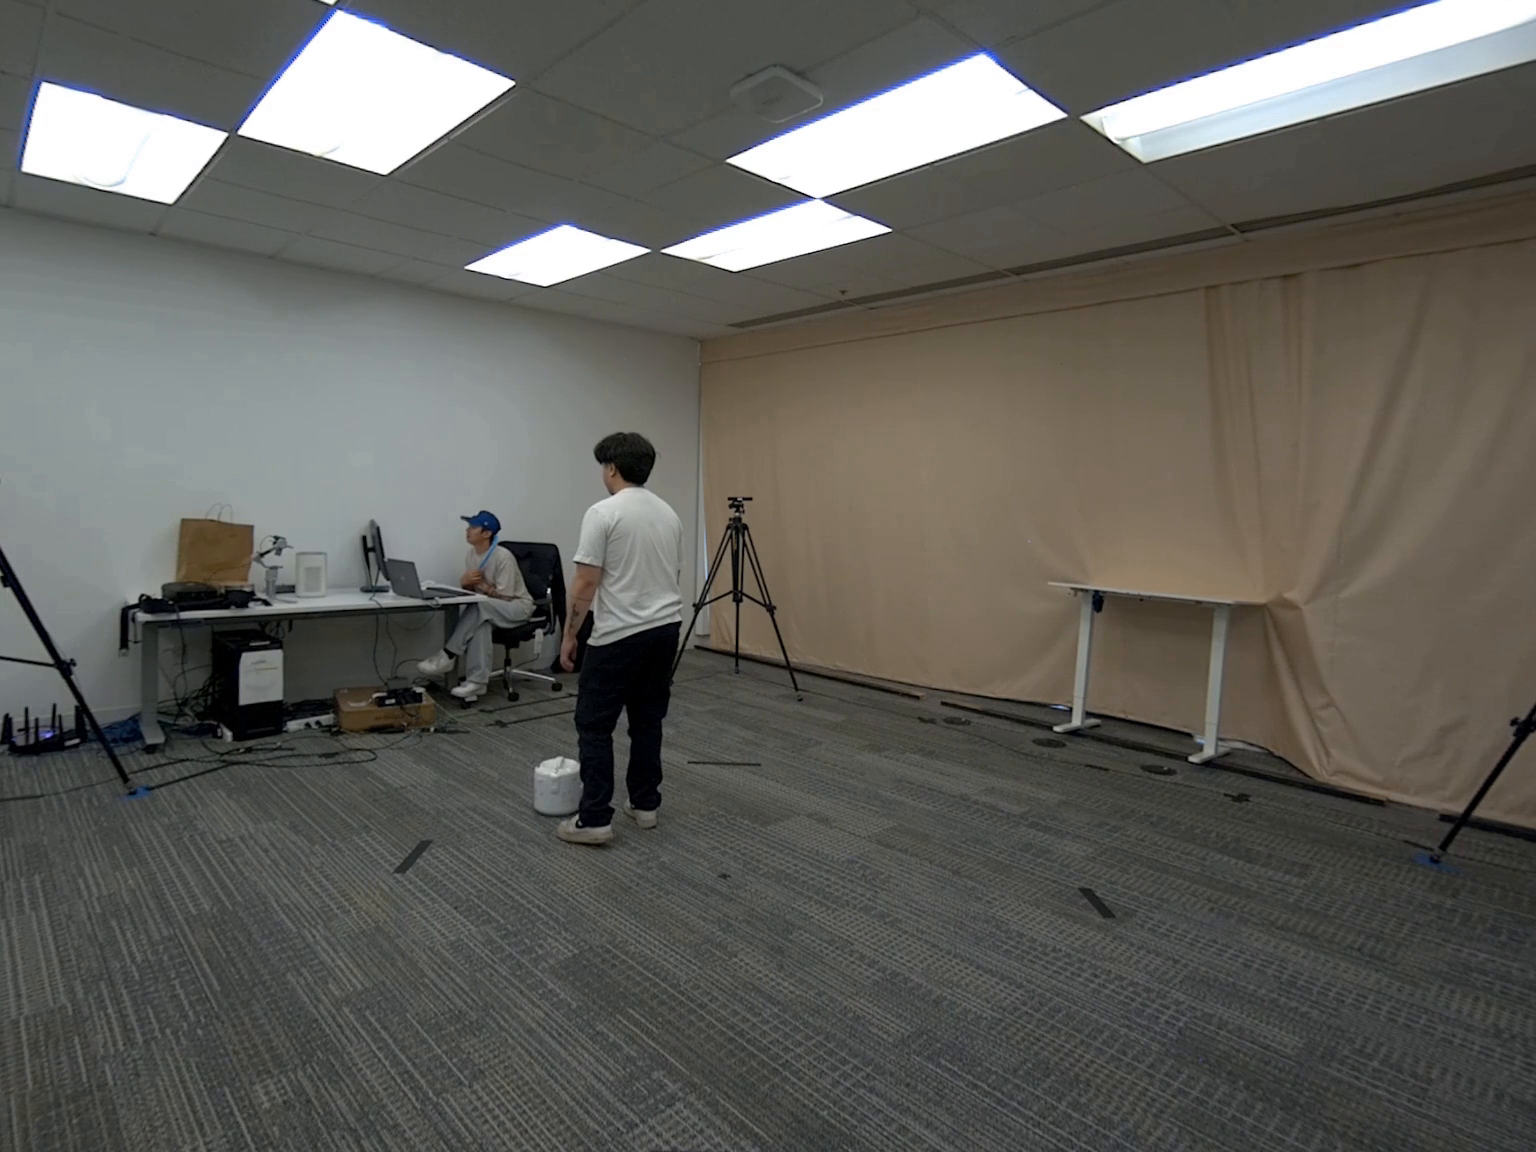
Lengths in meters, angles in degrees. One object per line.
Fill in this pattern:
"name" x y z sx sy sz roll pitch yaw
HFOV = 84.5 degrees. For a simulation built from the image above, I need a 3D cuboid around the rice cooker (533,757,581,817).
"rice cooker" -0.928 0.914 3.719 0.217 0.232 0.221 0 4 -2
